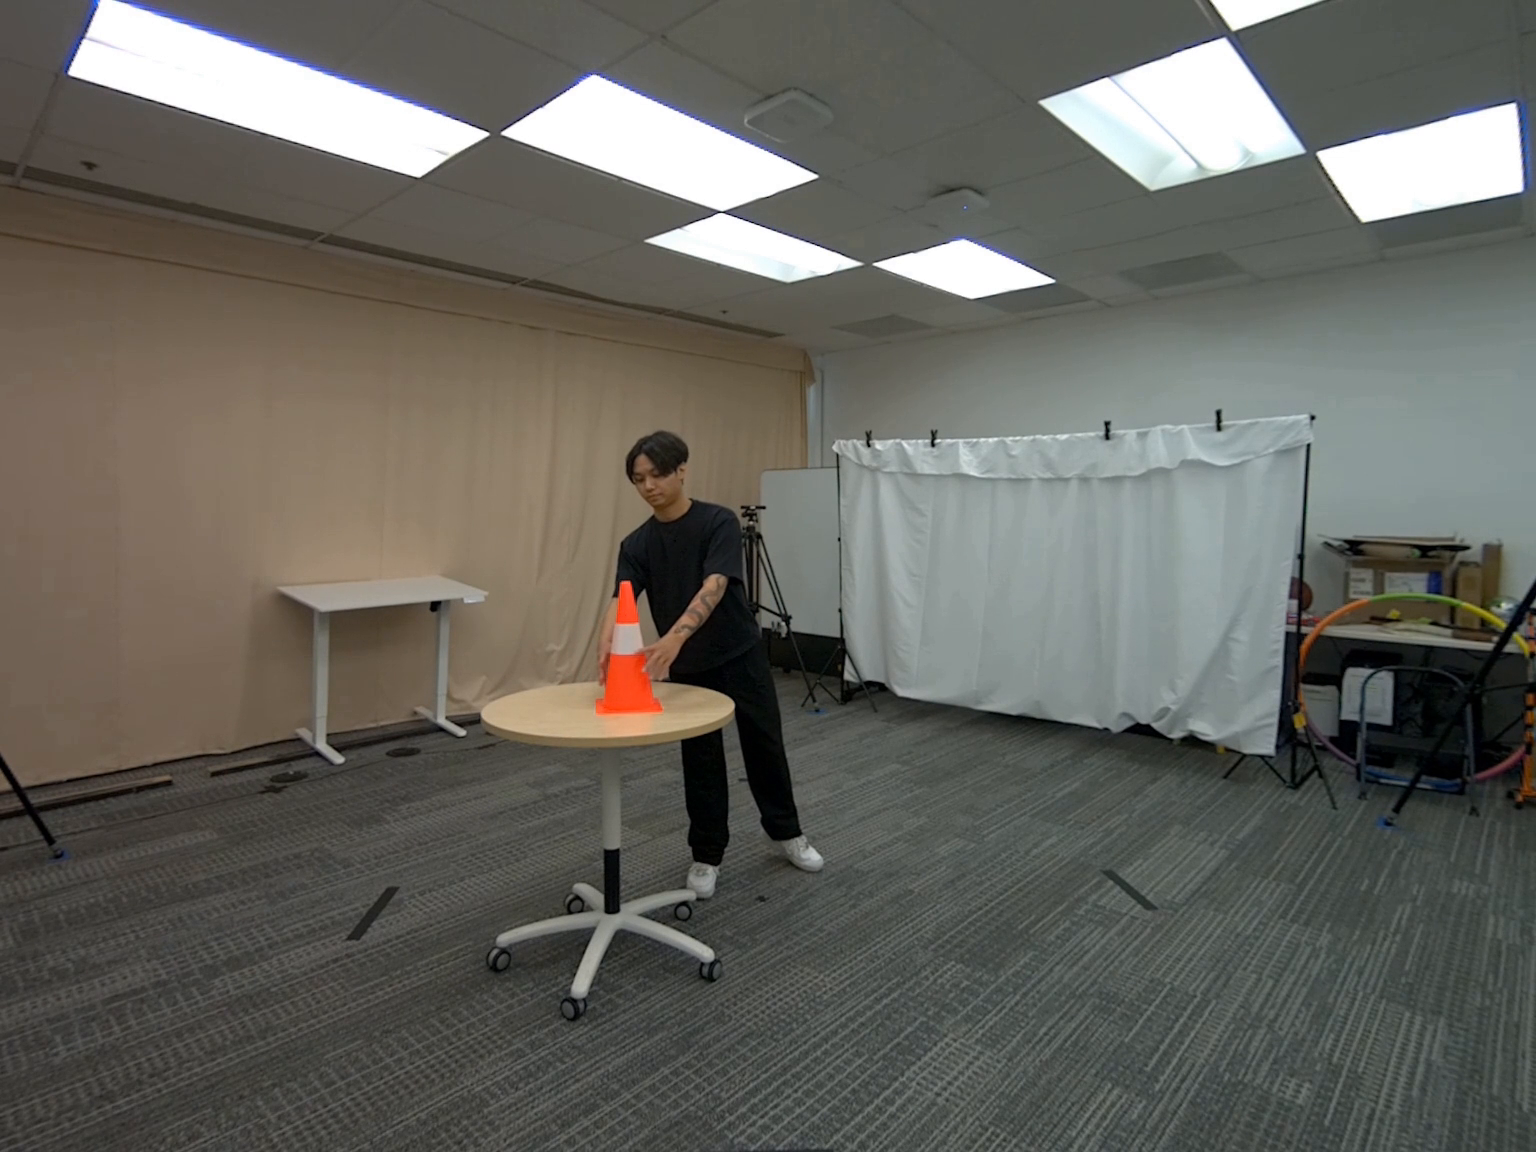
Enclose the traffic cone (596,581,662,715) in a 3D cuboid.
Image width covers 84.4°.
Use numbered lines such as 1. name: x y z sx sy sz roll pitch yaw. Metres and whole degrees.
1. traffic cone: -0.427 0.212 2.566 0.201 0.383 0.208 0 1 -12
